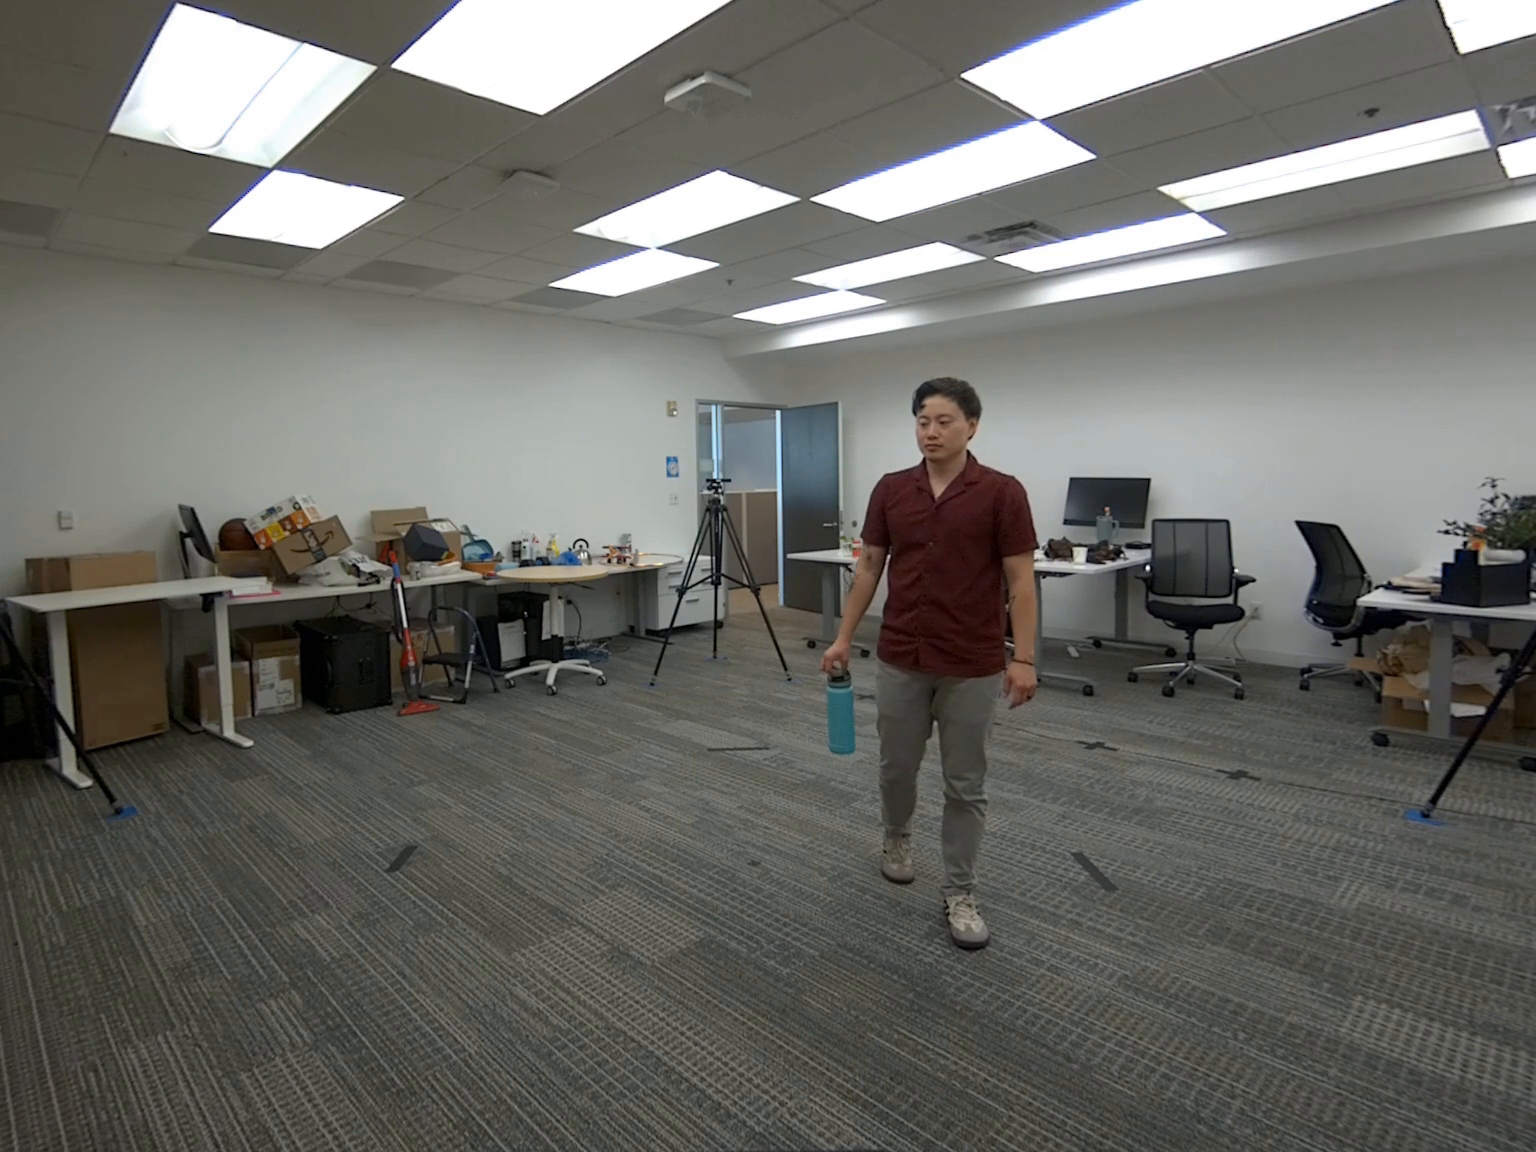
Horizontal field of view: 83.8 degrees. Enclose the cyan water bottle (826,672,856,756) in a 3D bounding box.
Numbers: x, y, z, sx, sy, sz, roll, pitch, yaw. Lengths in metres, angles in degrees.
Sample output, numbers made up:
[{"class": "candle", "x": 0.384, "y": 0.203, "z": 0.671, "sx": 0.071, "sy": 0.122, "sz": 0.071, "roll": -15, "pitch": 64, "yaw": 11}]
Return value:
[{"class": "cyan water bottle", "x": 0.255, "y": 0.448, "z": 2.817, "sx": 0.092, "sy": 0.281, "sz": 0.093, "roll": -5, "pitch": 8, "yaw": -1}]
